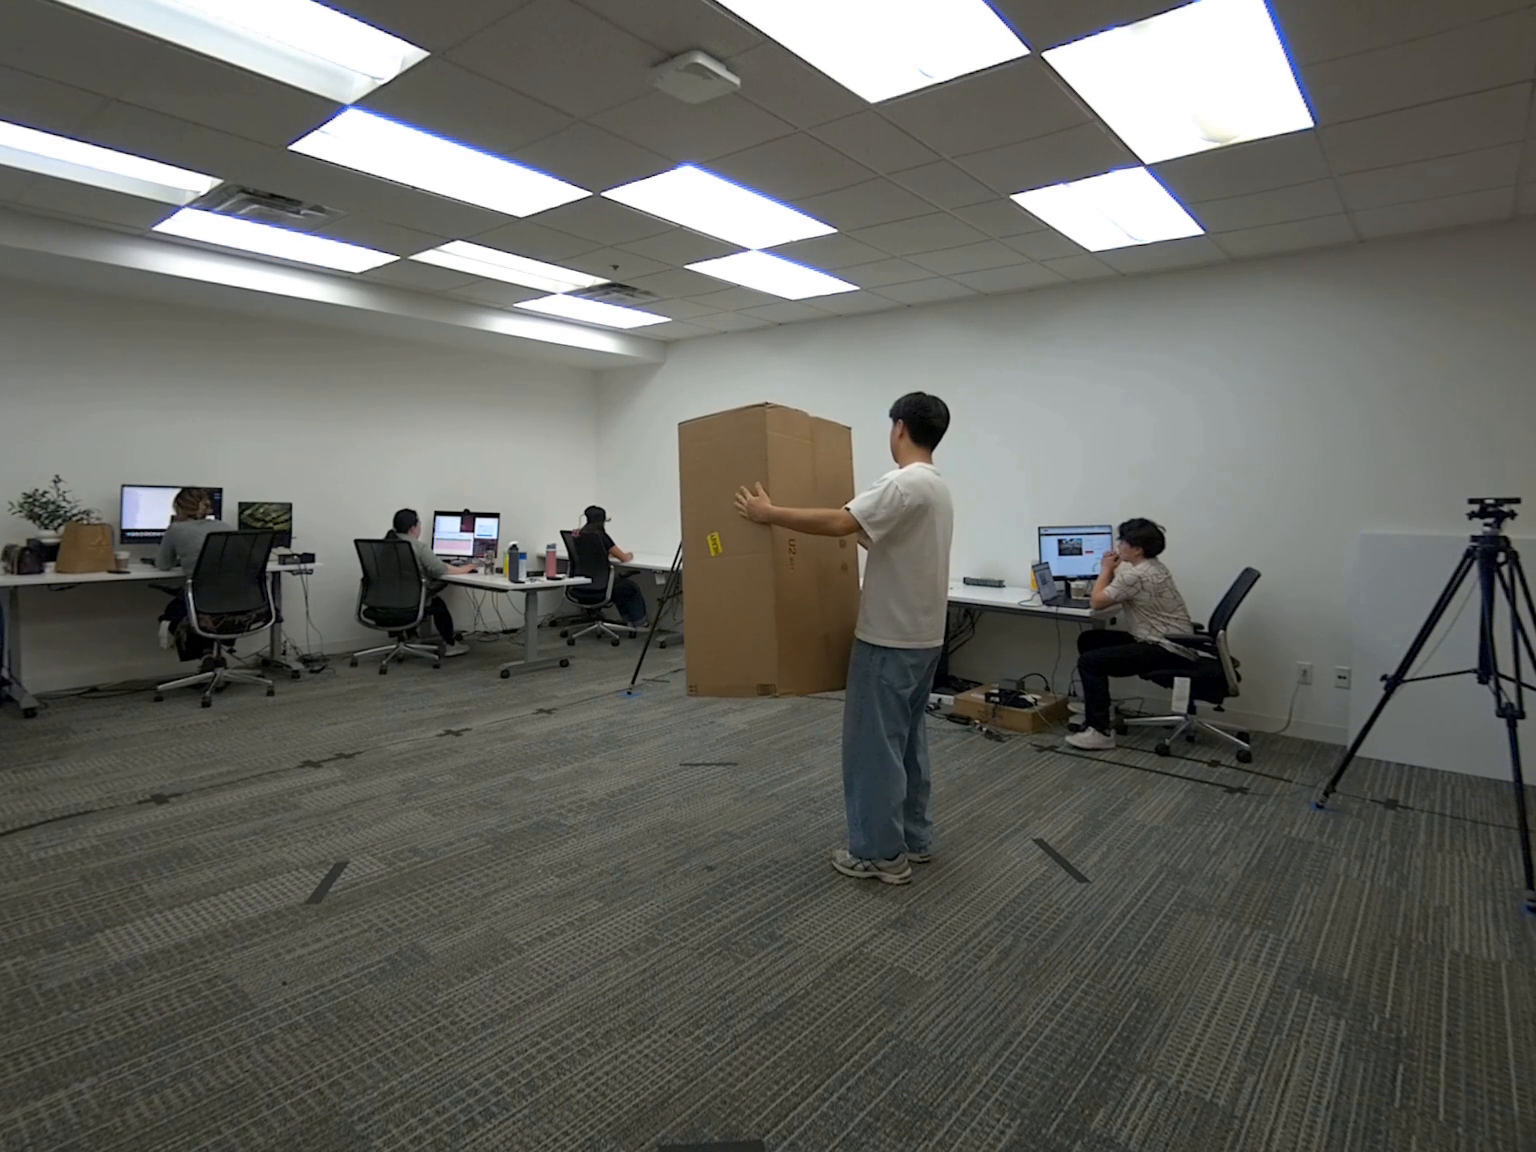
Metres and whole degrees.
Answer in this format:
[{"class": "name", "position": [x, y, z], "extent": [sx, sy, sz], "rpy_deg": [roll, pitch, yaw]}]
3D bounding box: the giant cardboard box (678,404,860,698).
[{"class": "giant cardboard box", "position": [0.006, -0.080, 3.256], "extent": [0.438, 1.032, 0.558], "rpy_deg": [-7, -7, 38]}]
